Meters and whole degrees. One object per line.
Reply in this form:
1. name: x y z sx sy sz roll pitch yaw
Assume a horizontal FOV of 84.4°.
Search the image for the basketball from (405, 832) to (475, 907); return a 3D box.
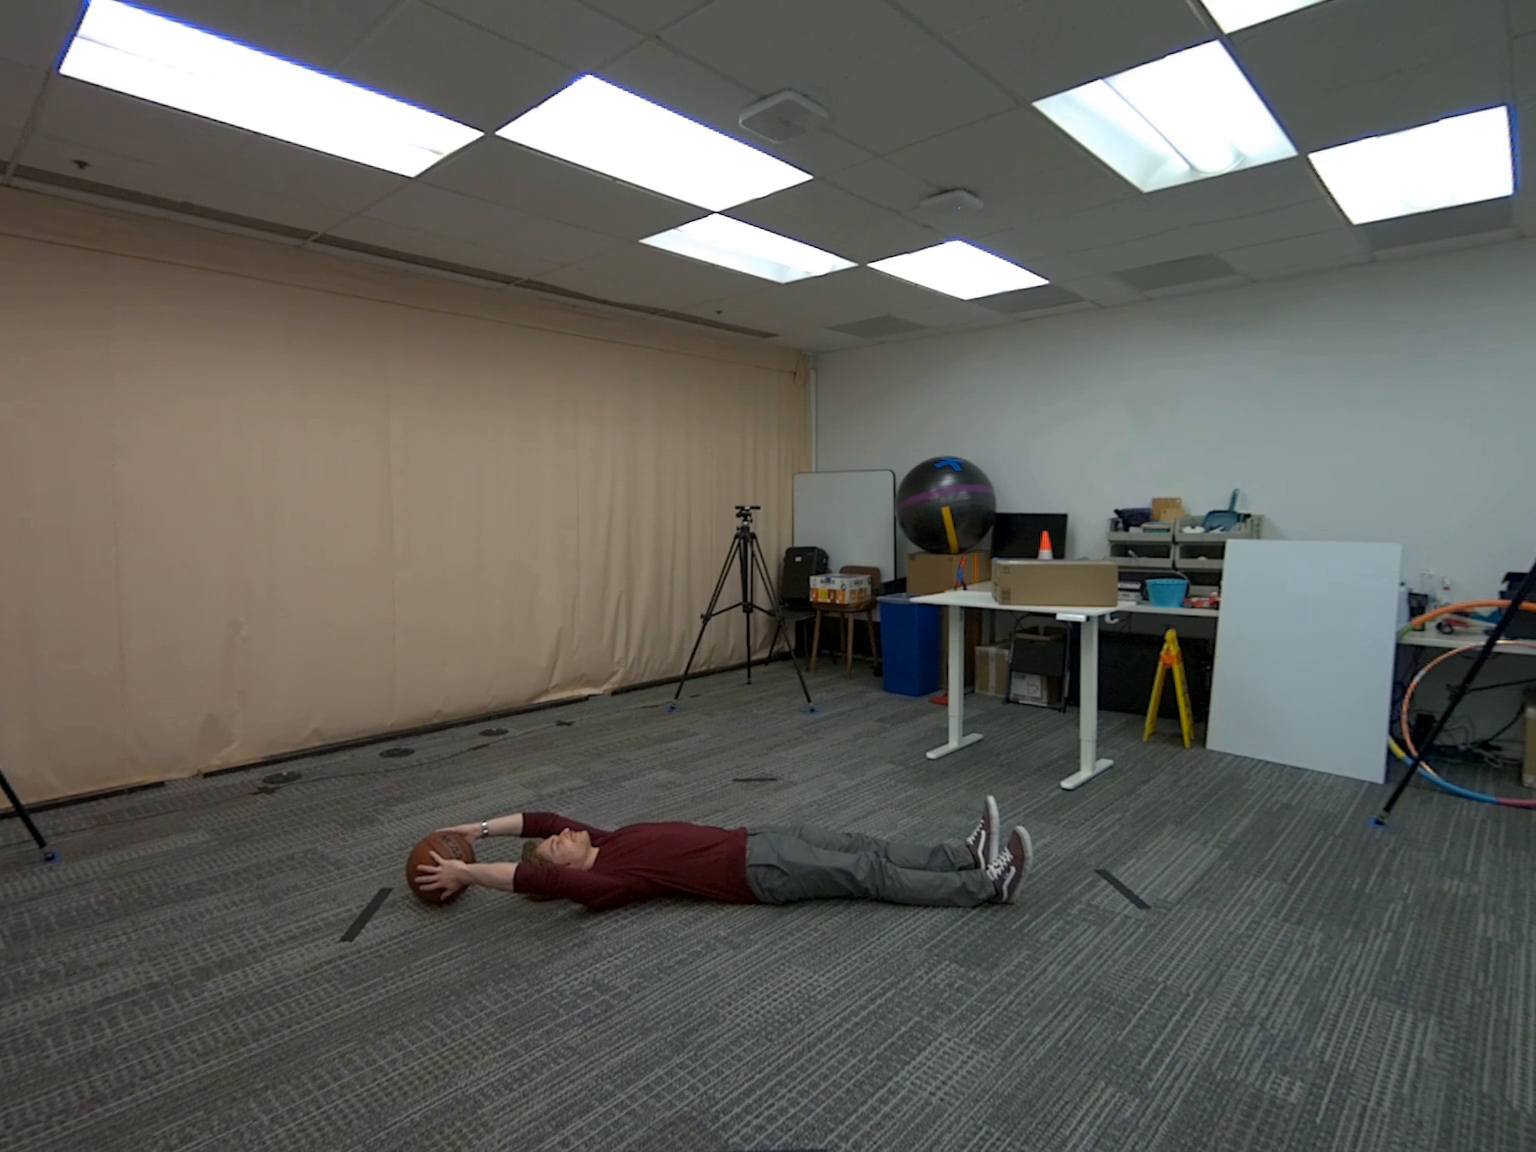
1. basketball: -1.161 1.033 2.992 0.236 0.235 0.237 0 4 -2
